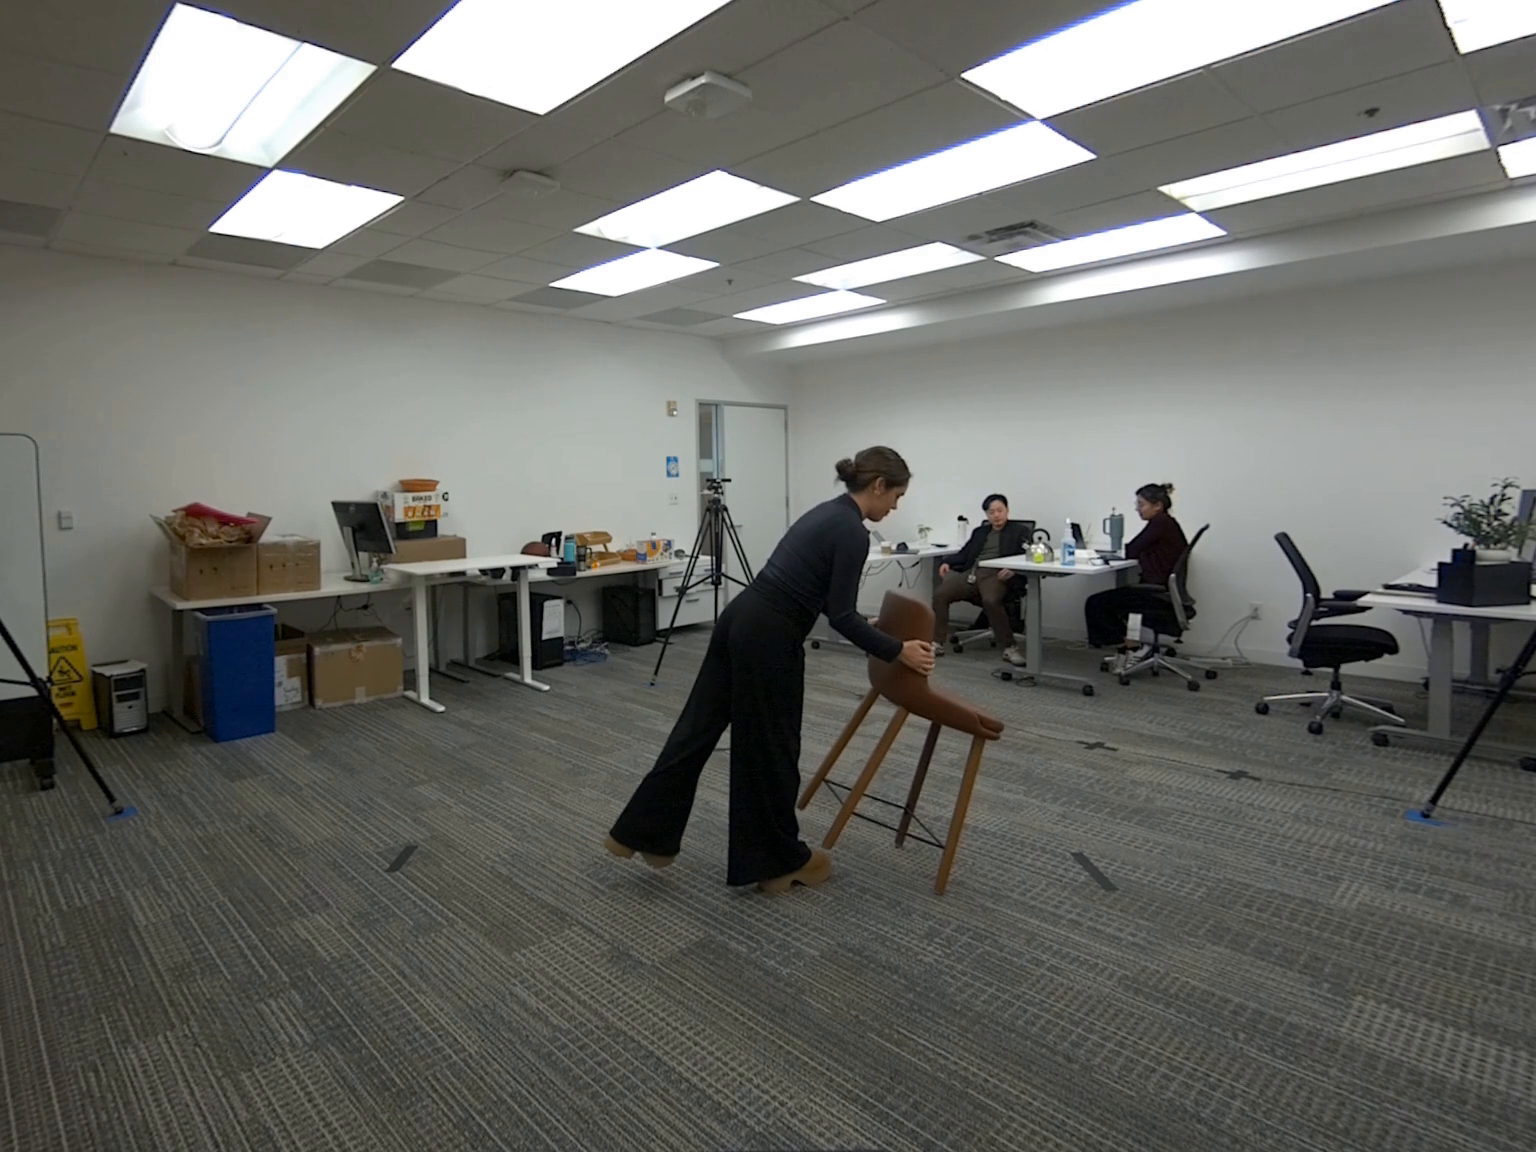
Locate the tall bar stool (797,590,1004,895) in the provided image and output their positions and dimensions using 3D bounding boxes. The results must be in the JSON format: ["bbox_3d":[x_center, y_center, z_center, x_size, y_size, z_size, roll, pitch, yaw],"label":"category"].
[{"bbox_3d":[0.504,0.553,3.009,0.461,0.890,0.463,21,-1,-12],"label":"tall bar stool"}]
